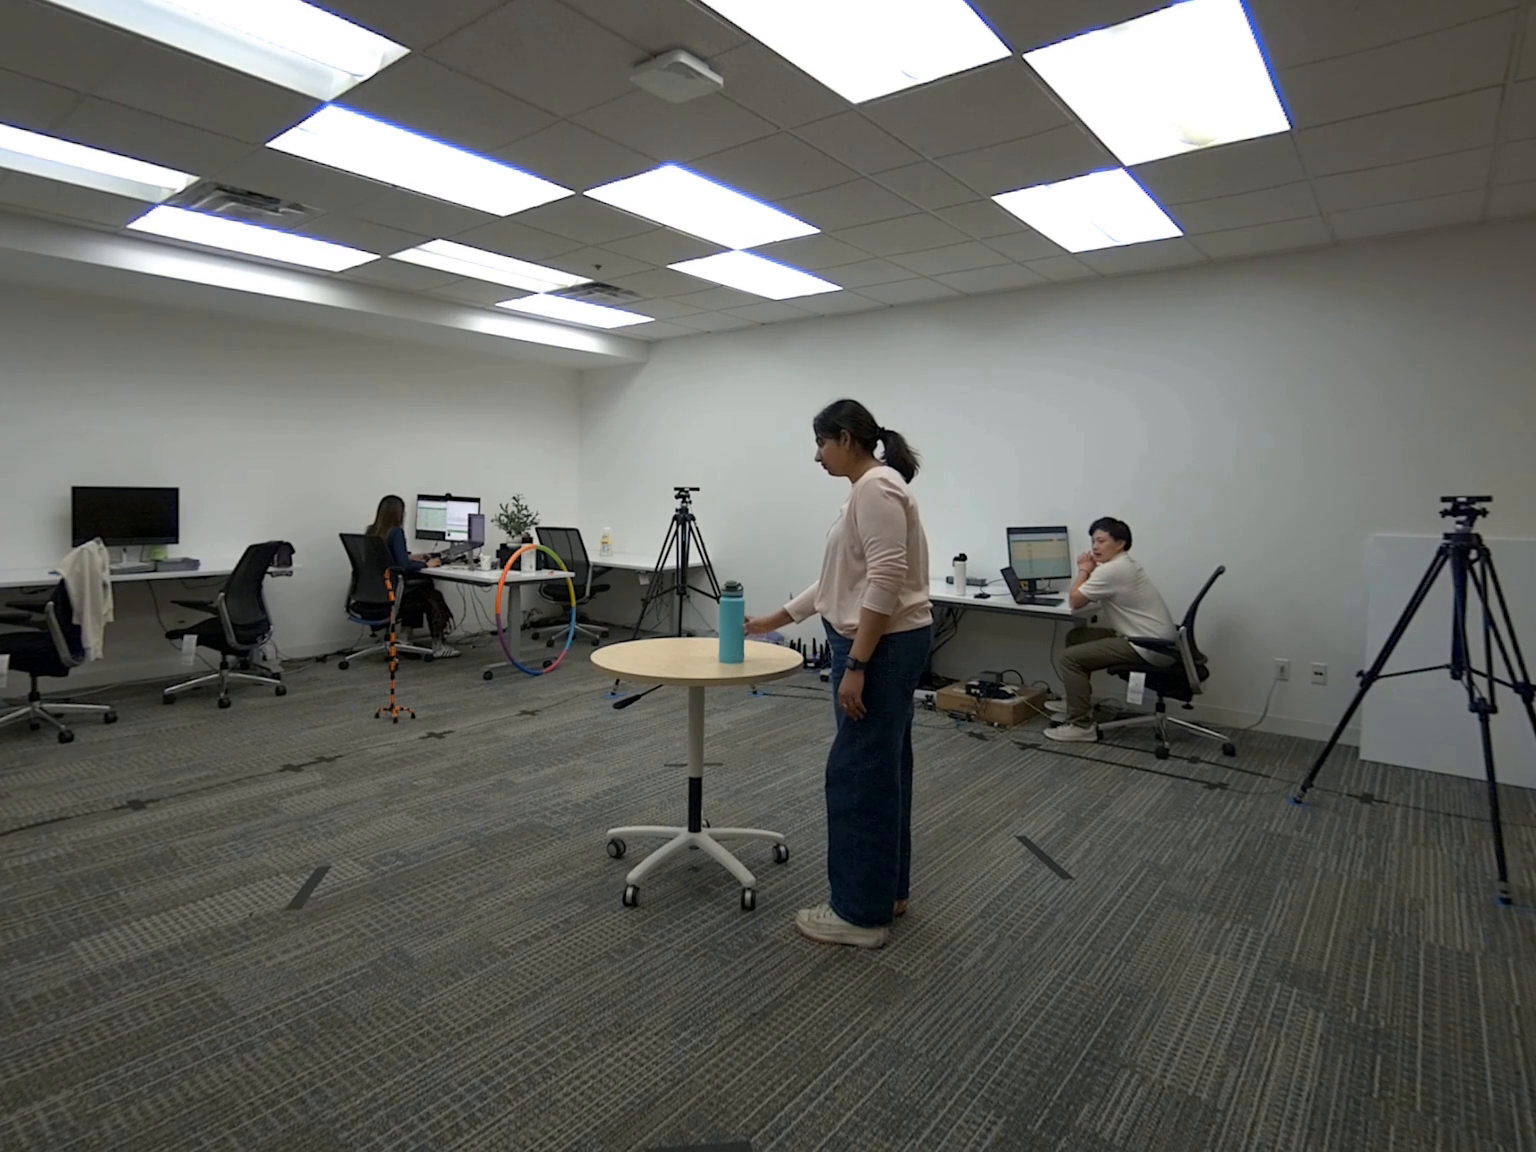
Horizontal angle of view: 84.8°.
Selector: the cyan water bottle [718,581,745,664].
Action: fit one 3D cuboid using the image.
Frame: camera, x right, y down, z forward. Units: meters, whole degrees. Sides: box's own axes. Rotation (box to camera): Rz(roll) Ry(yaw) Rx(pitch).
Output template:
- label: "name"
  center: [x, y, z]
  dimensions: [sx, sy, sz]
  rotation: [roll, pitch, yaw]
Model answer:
- label: "cyan water bottle"
  center: [-0.138, 0.156, 2.980]
  dimensions: [0.092, 0.283, 0.093]
  rotation: [1, 2, -2]
